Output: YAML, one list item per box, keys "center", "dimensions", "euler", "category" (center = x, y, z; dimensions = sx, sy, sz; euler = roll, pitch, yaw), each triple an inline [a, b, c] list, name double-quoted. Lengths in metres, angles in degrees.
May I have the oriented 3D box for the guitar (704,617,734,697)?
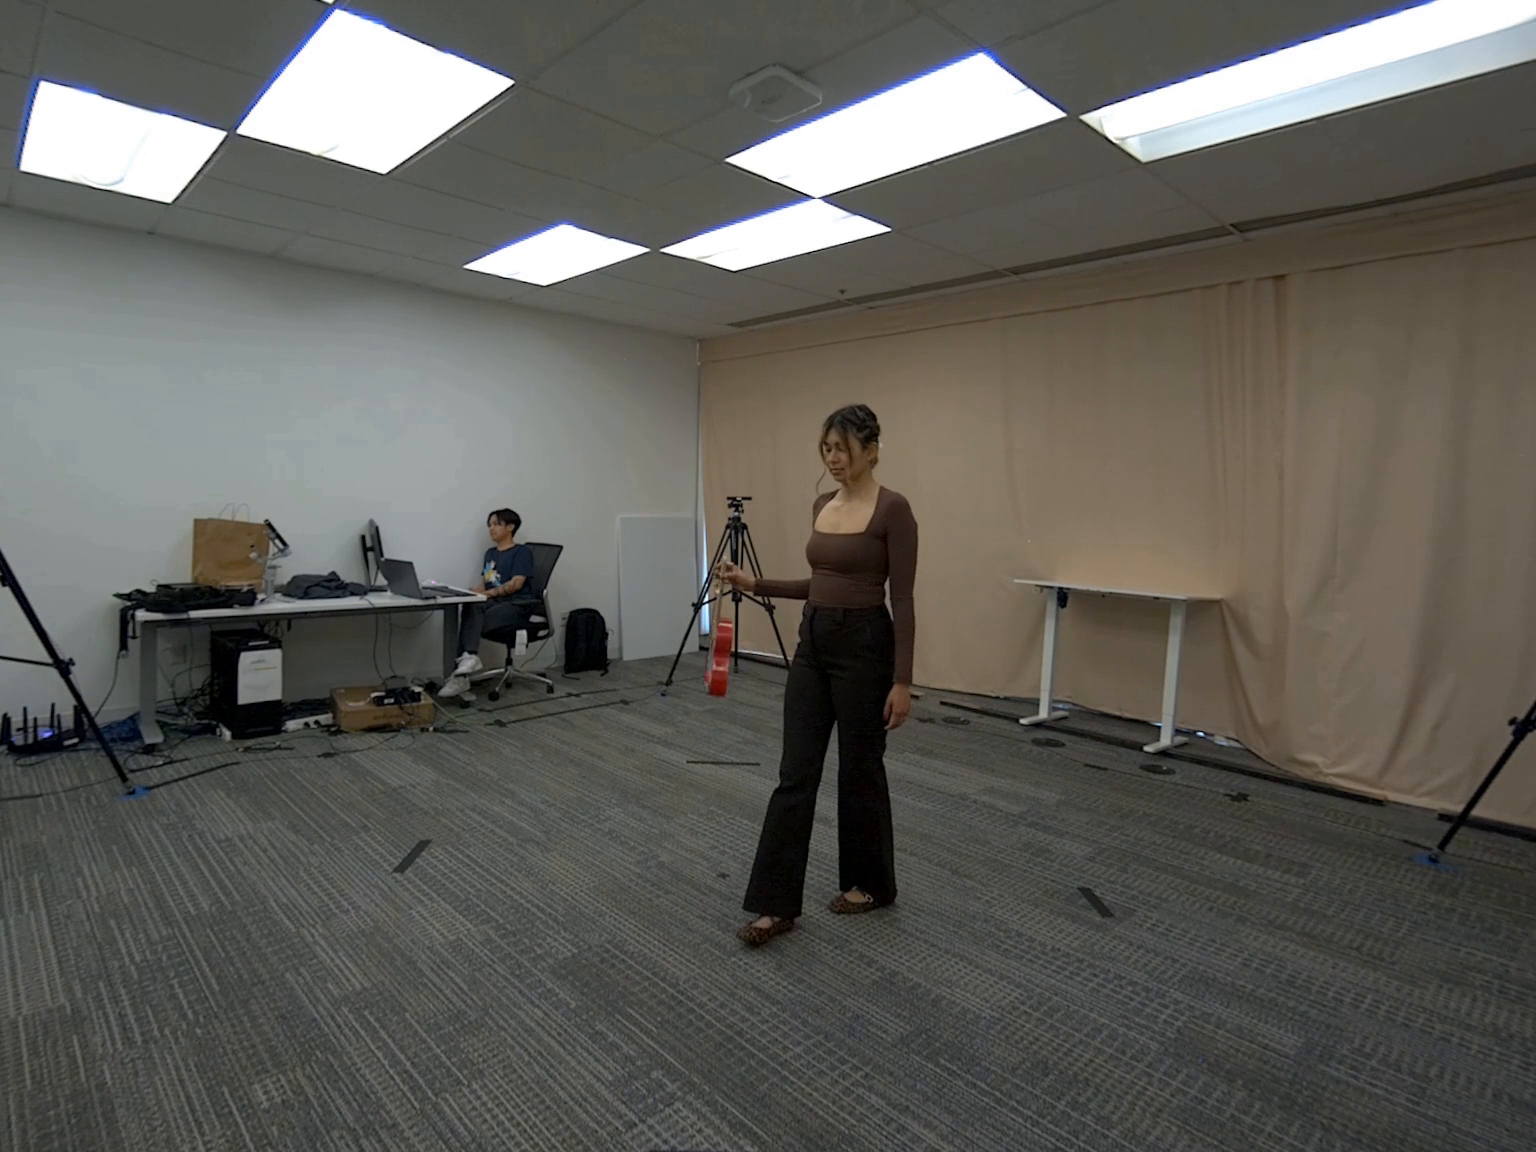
- center: [-0.169, 0.188, 2.963]
  dimensions: [0.070, 0.493, 0.196]
  euler: [6, 17, -9]
  category: "guitar"
